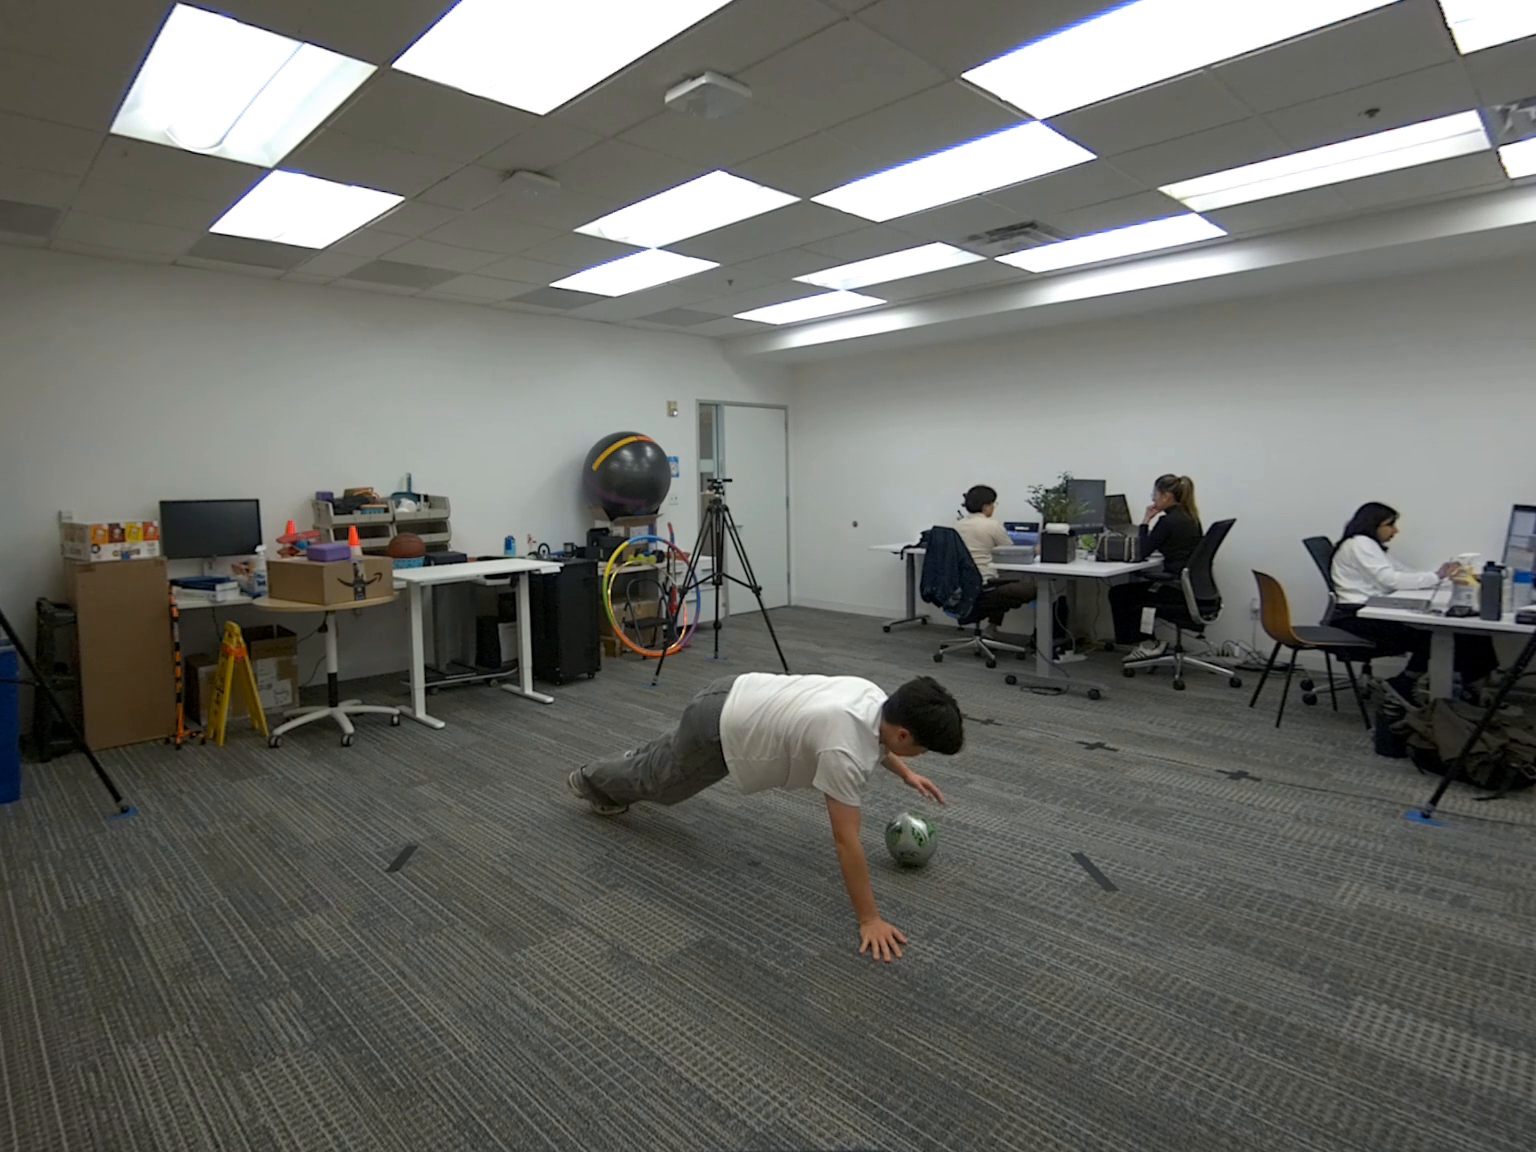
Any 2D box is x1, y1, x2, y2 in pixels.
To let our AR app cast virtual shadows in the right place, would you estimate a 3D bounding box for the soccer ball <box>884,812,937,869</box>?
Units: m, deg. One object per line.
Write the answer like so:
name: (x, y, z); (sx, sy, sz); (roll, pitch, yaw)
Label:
soccer ball: (0.513, 0.942, 3.075); (0.187, 0.187, 0.188); (-1, 5, -2)
